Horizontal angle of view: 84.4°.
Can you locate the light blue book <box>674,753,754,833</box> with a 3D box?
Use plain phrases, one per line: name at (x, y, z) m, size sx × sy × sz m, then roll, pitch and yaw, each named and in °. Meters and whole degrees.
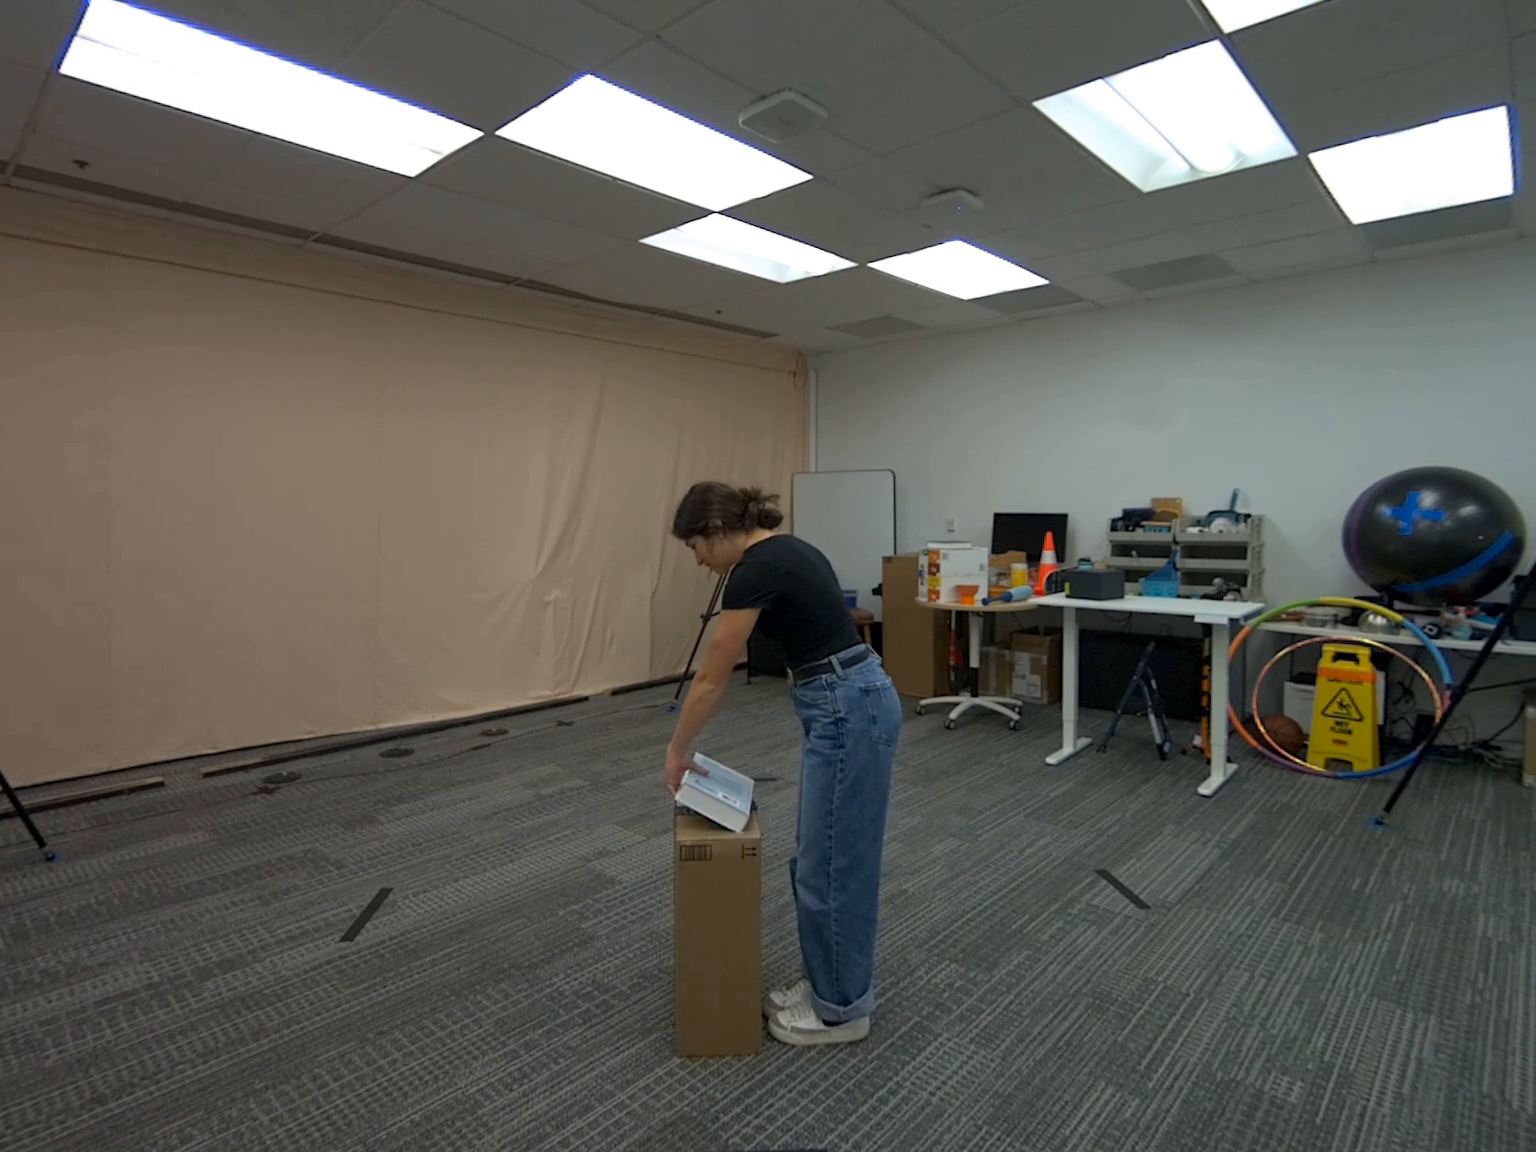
light blue book at (-0.132, 0.587, 2.264) m, size 0.192 × 0.059 × 0.260 m, roll 26°, pitch 5°, yaw 1°
